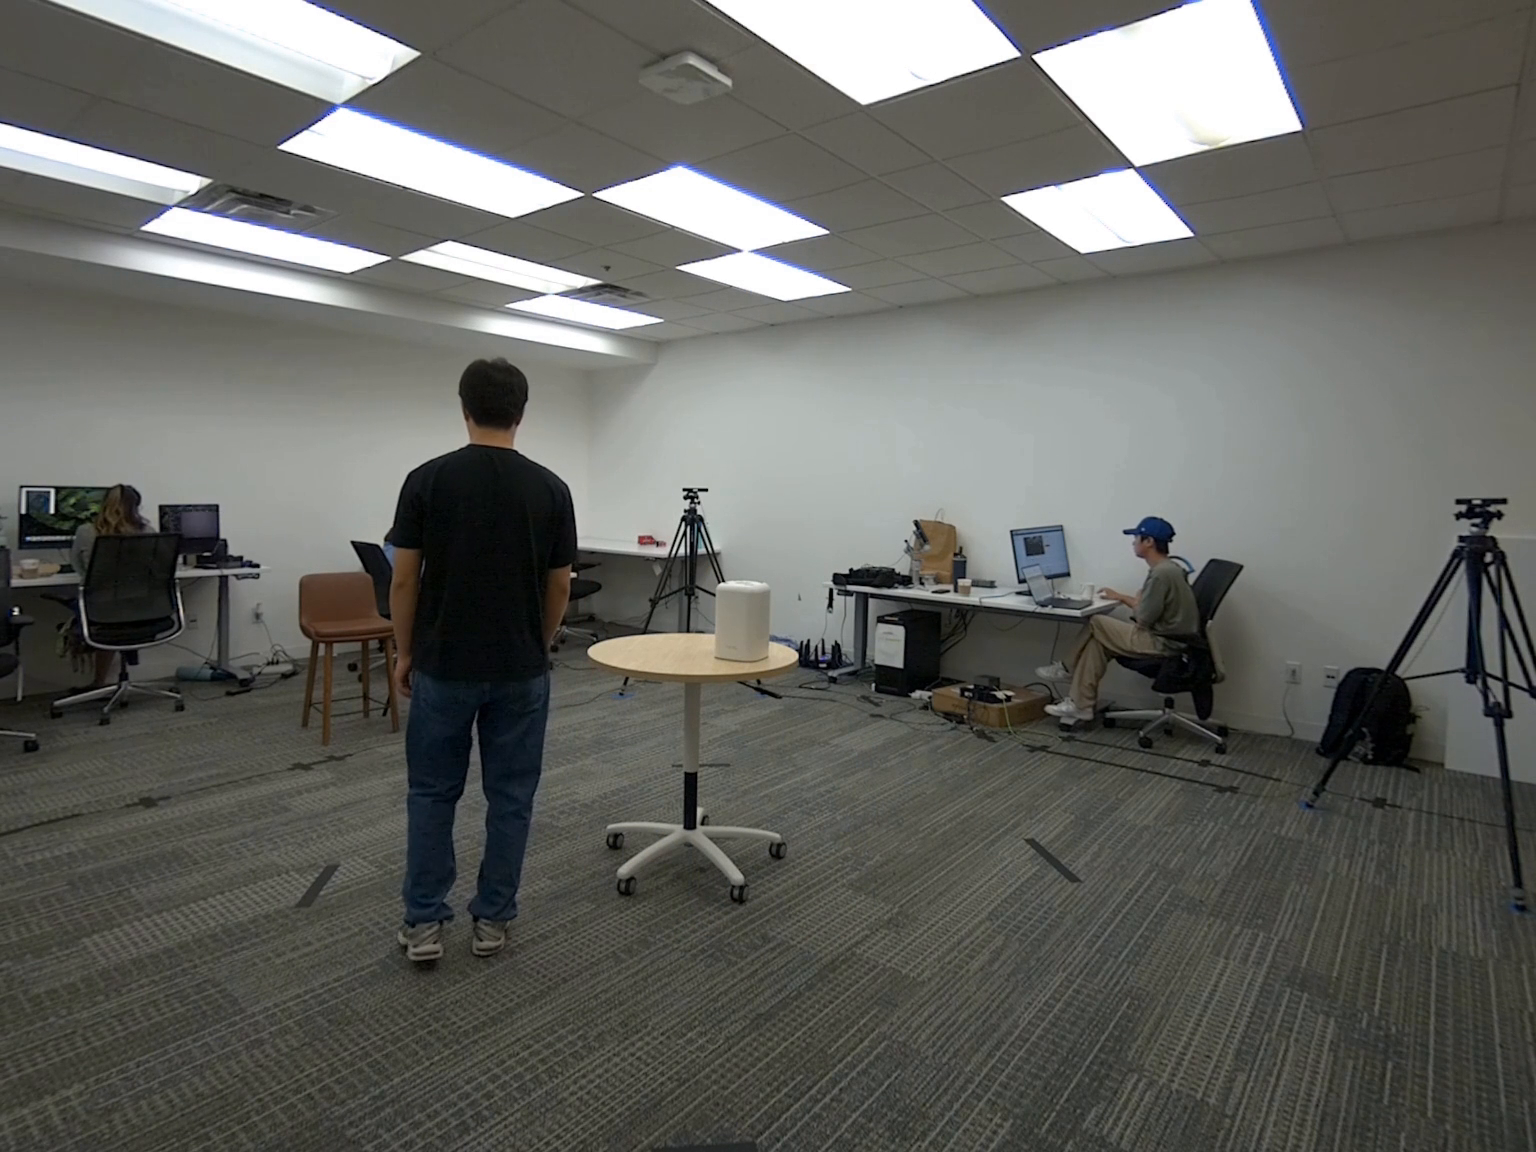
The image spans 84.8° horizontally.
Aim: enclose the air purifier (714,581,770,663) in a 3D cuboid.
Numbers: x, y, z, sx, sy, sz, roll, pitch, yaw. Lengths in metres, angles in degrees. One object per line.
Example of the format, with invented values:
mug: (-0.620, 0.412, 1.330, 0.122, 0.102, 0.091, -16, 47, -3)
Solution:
air purifier: (-0.099, 0.152, 3.021, 0.176, 0.264, 0.168, 4, 5, 27)
